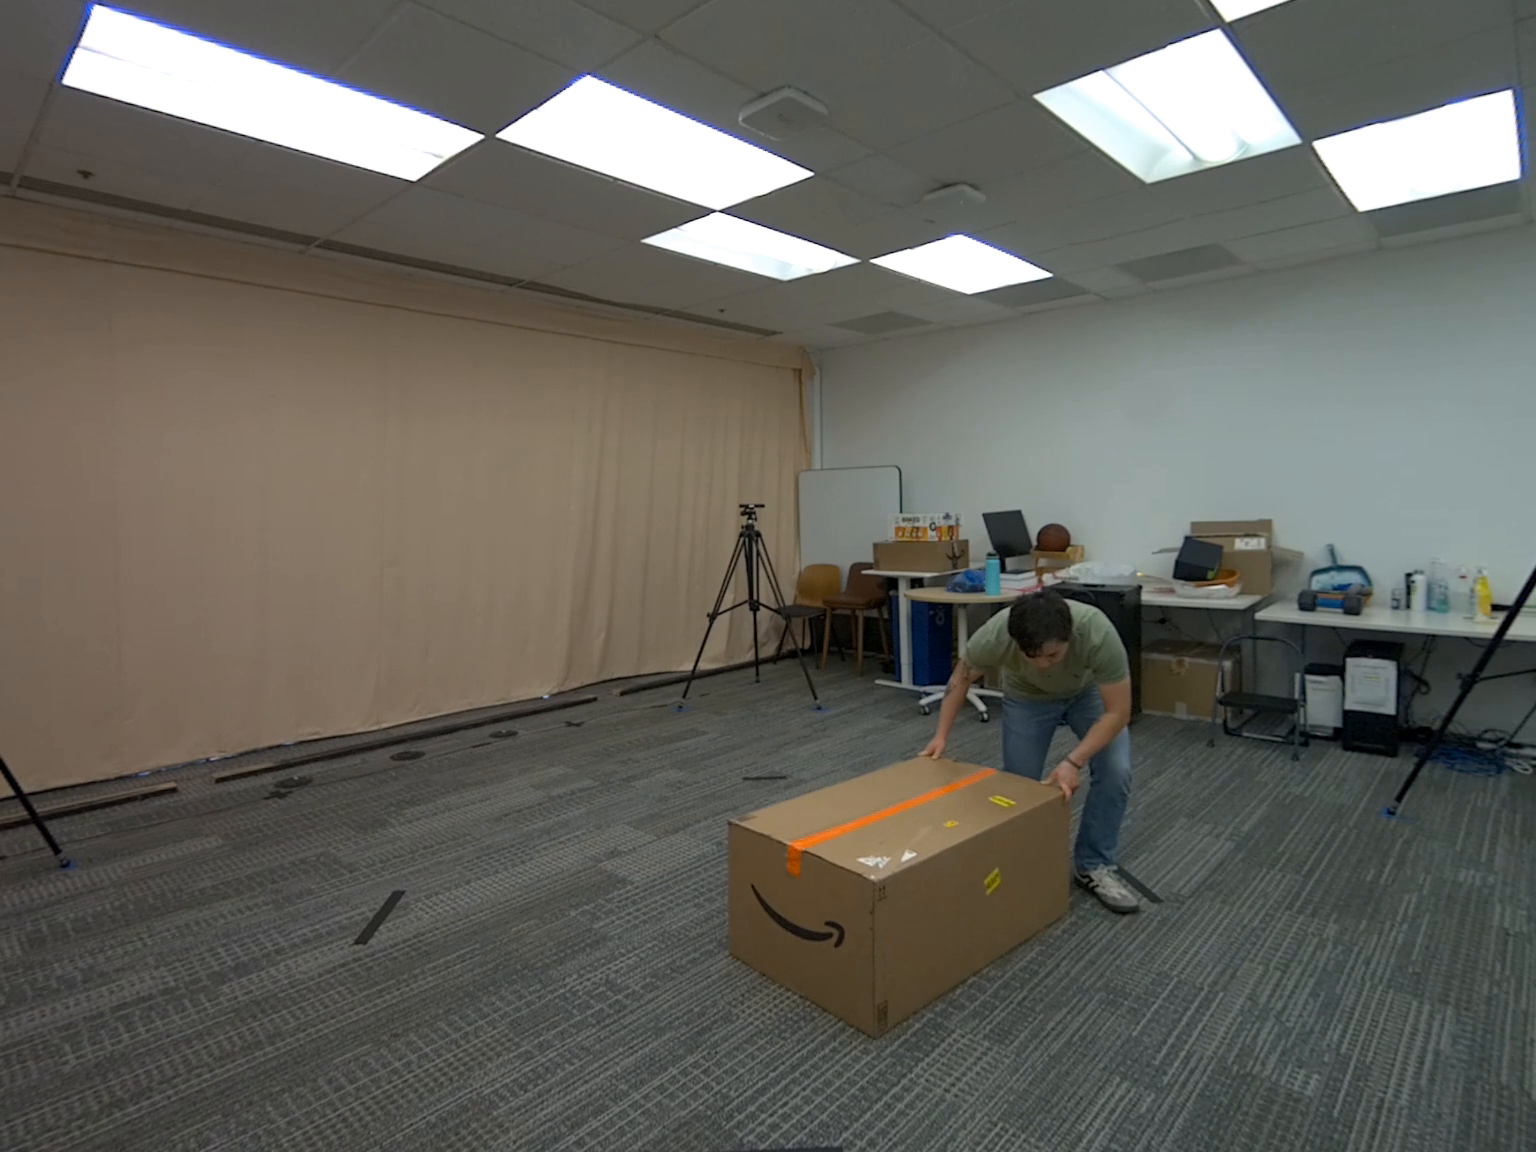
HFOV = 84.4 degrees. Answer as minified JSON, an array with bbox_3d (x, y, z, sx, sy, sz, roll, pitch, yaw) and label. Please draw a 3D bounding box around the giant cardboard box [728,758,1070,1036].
[{"bbox_3d":[0.443,0.943,2.712,0.995,0.425,0.597,-5,6,-42],"label":"giant cardboard box"}]
